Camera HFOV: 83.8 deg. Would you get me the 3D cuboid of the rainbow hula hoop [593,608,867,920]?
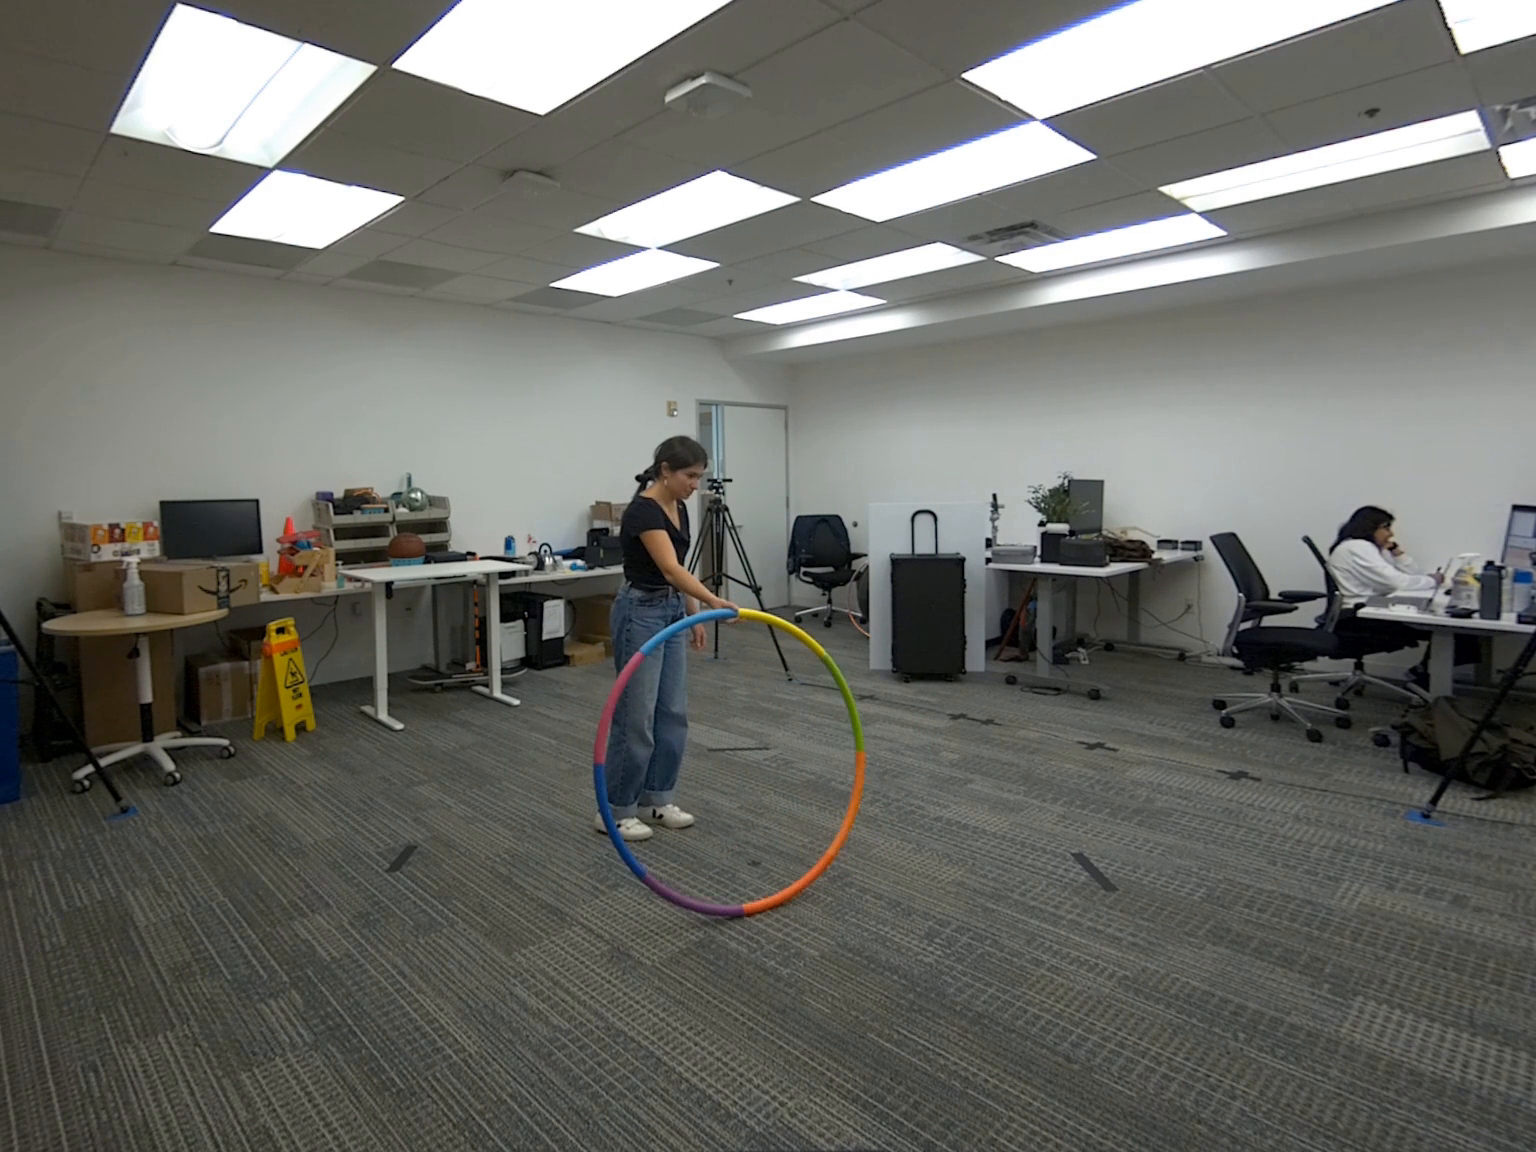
[{"bbox_3d":[-0.090,0.600,2.832,0.957,0.987,0.036,-4,-10,-26],"label":"rainbow hula hoop"}]
